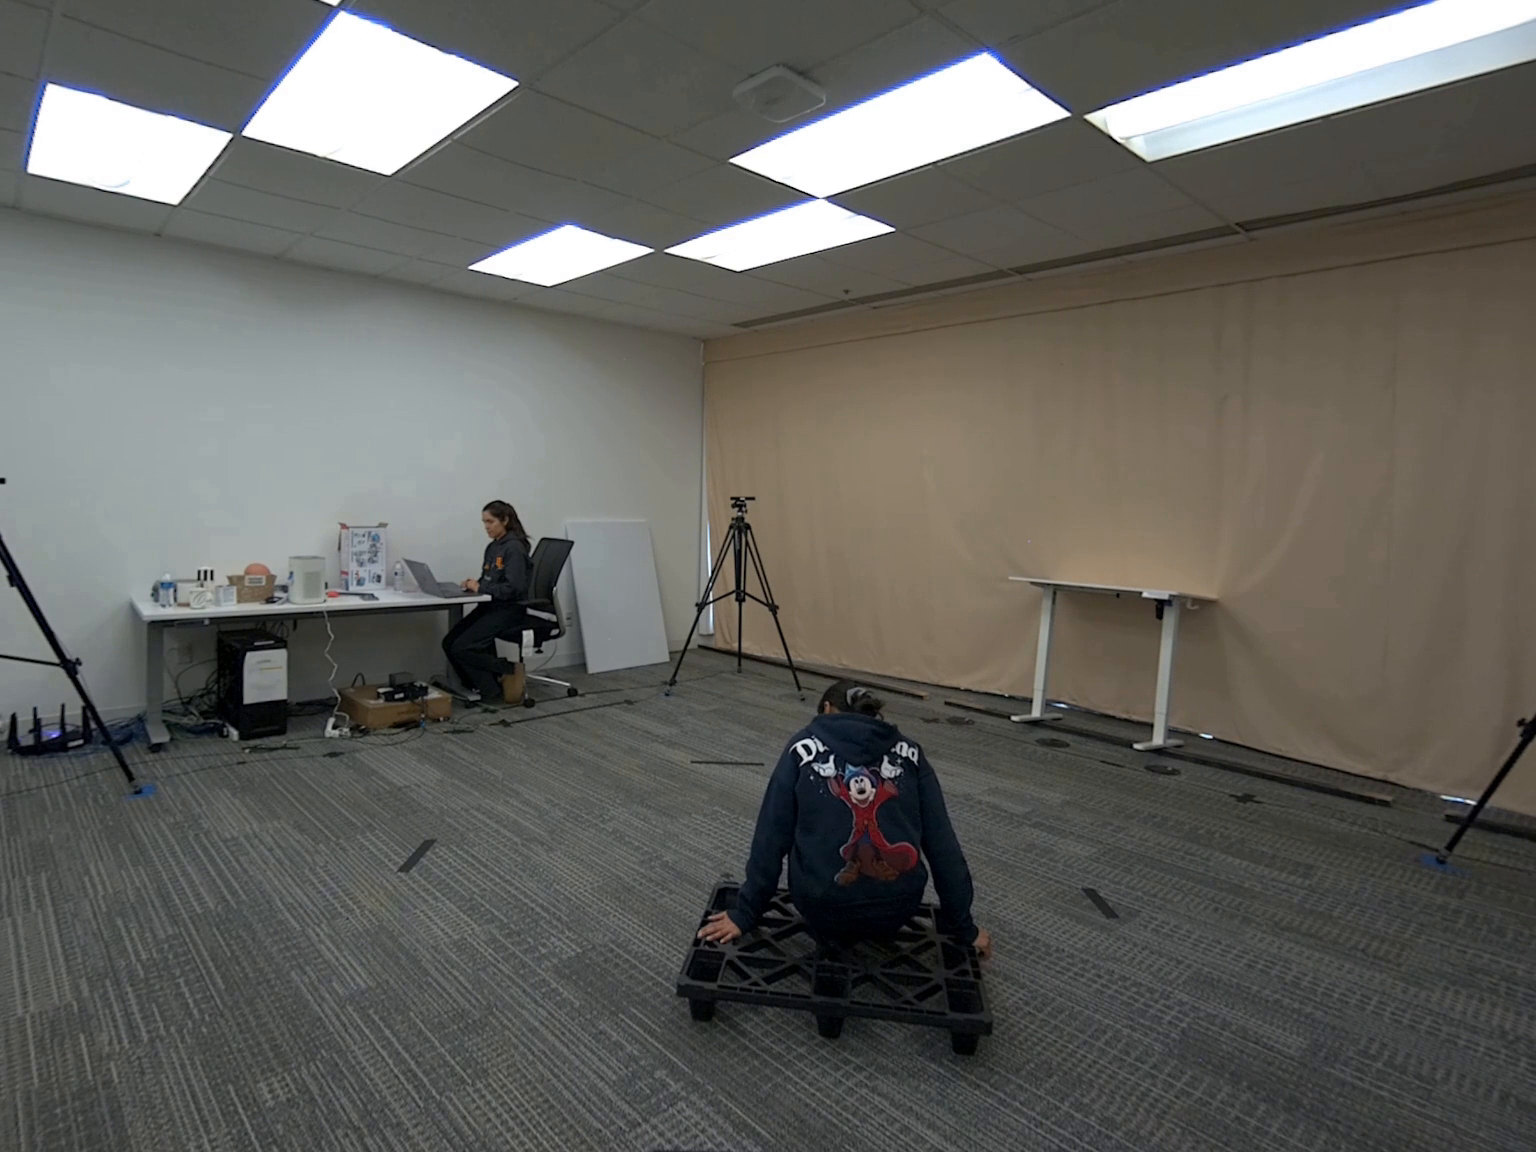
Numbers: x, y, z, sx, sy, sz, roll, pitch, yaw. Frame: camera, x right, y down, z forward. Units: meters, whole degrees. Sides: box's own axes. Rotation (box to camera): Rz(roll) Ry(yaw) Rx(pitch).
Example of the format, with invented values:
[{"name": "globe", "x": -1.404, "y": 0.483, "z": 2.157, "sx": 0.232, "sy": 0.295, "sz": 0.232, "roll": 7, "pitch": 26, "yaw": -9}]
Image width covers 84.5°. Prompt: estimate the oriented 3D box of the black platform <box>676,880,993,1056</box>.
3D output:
[{"name": "black platform", "x": 0.188, "y": 1.111, "z": 2.405, "sx": 0.811, "sy": 0.143, "sz": 0.603, "roll": 2, "pitch": 6, "yaw": 8}]
